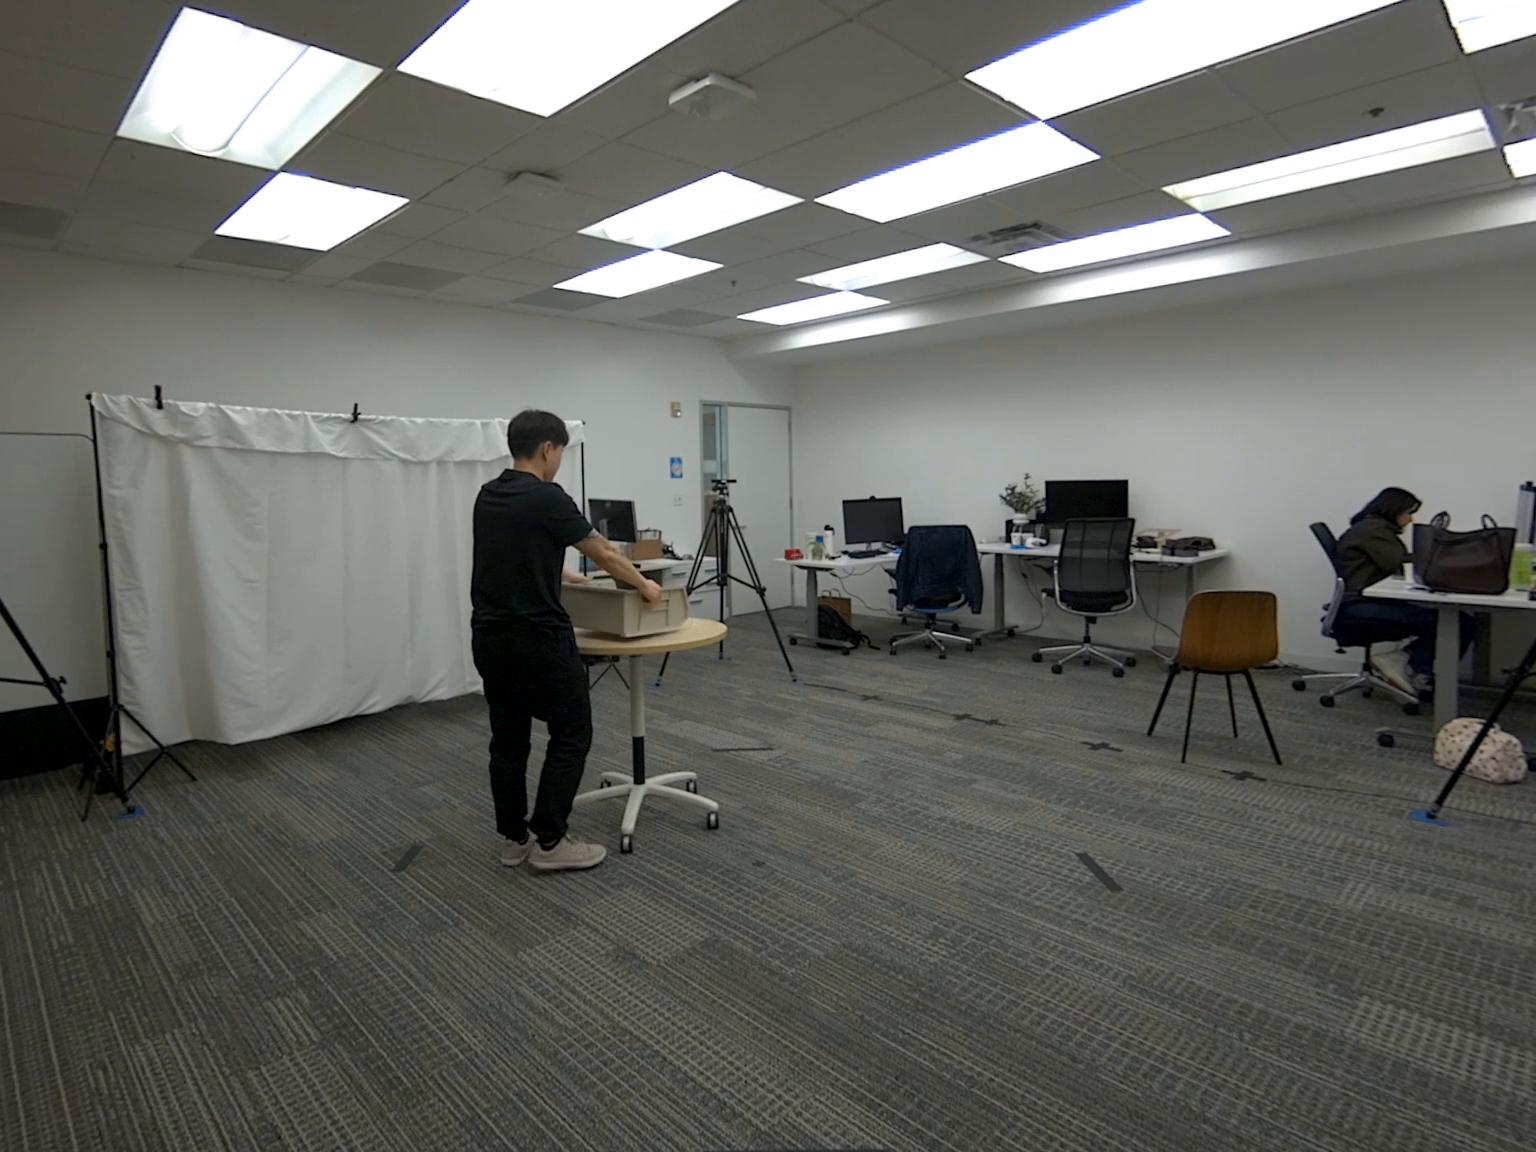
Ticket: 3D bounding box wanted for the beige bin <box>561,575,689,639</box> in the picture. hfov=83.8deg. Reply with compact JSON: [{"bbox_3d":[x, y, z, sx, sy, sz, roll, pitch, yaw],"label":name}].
[{"bbox_3d":[-0.599,0.118,3.494,0.435,0.188,0.368,4,7,36],"label":"beige bin"}]
